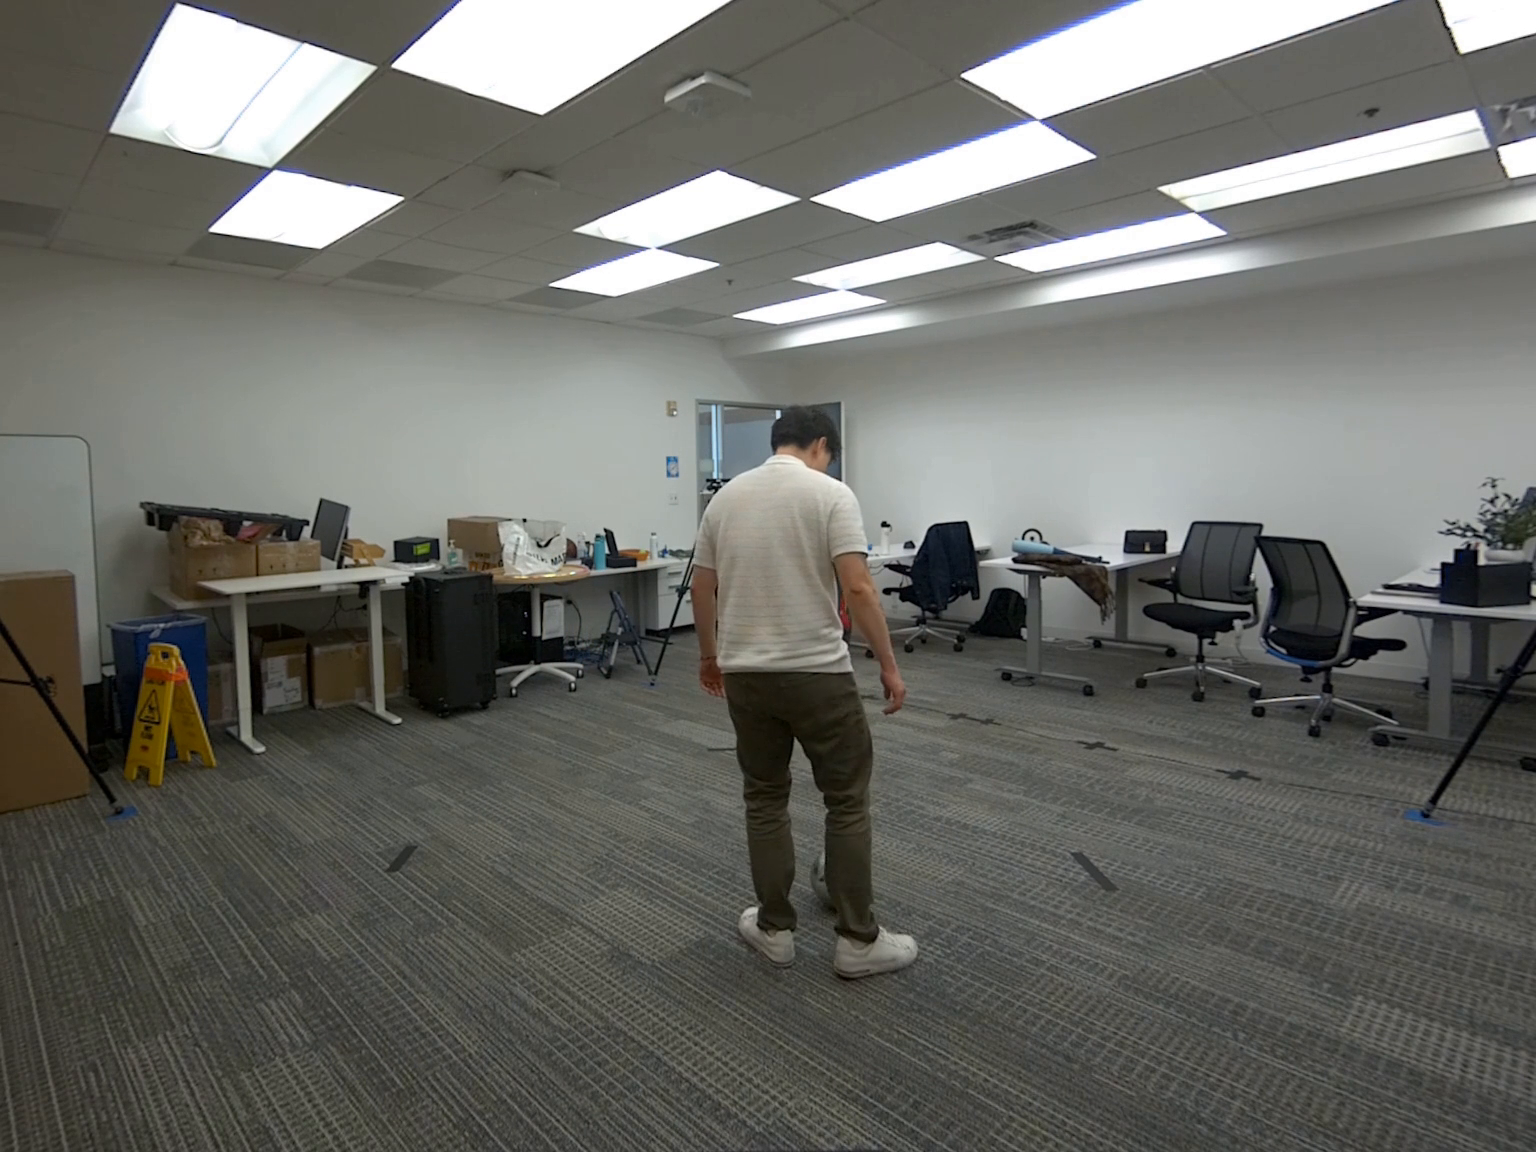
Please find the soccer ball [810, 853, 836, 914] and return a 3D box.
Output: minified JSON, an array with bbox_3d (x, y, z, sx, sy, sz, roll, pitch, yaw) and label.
[{"bbox_3d":[0.235,0.982,2.787,0.187,0.187,0.188,-1,5,-2],"label":"soccer ball"}]
